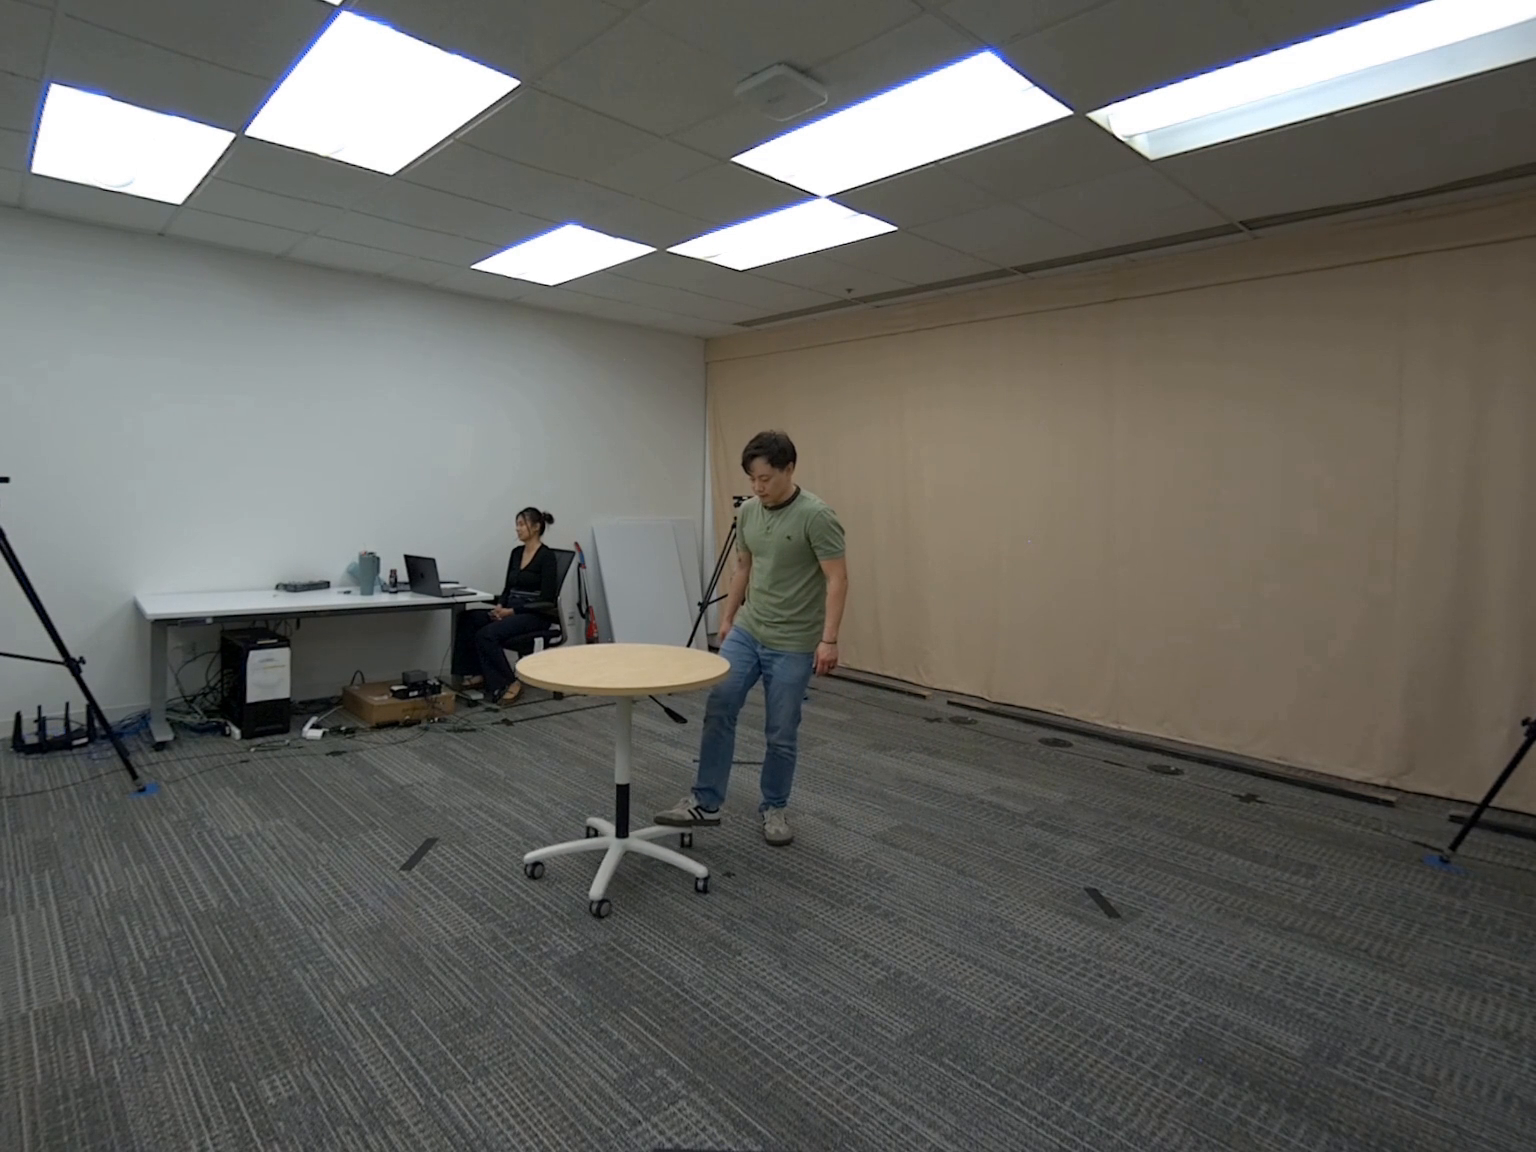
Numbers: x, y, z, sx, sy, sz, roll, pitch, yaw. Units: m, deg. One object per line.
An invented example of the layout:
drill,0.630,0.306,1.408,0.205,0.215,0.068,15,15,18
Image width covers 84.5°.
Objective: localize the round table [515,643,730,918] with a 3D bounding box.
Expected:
round table,-0.536,0.709,3.072,0.763,0.792,0.767,1,4,-1
